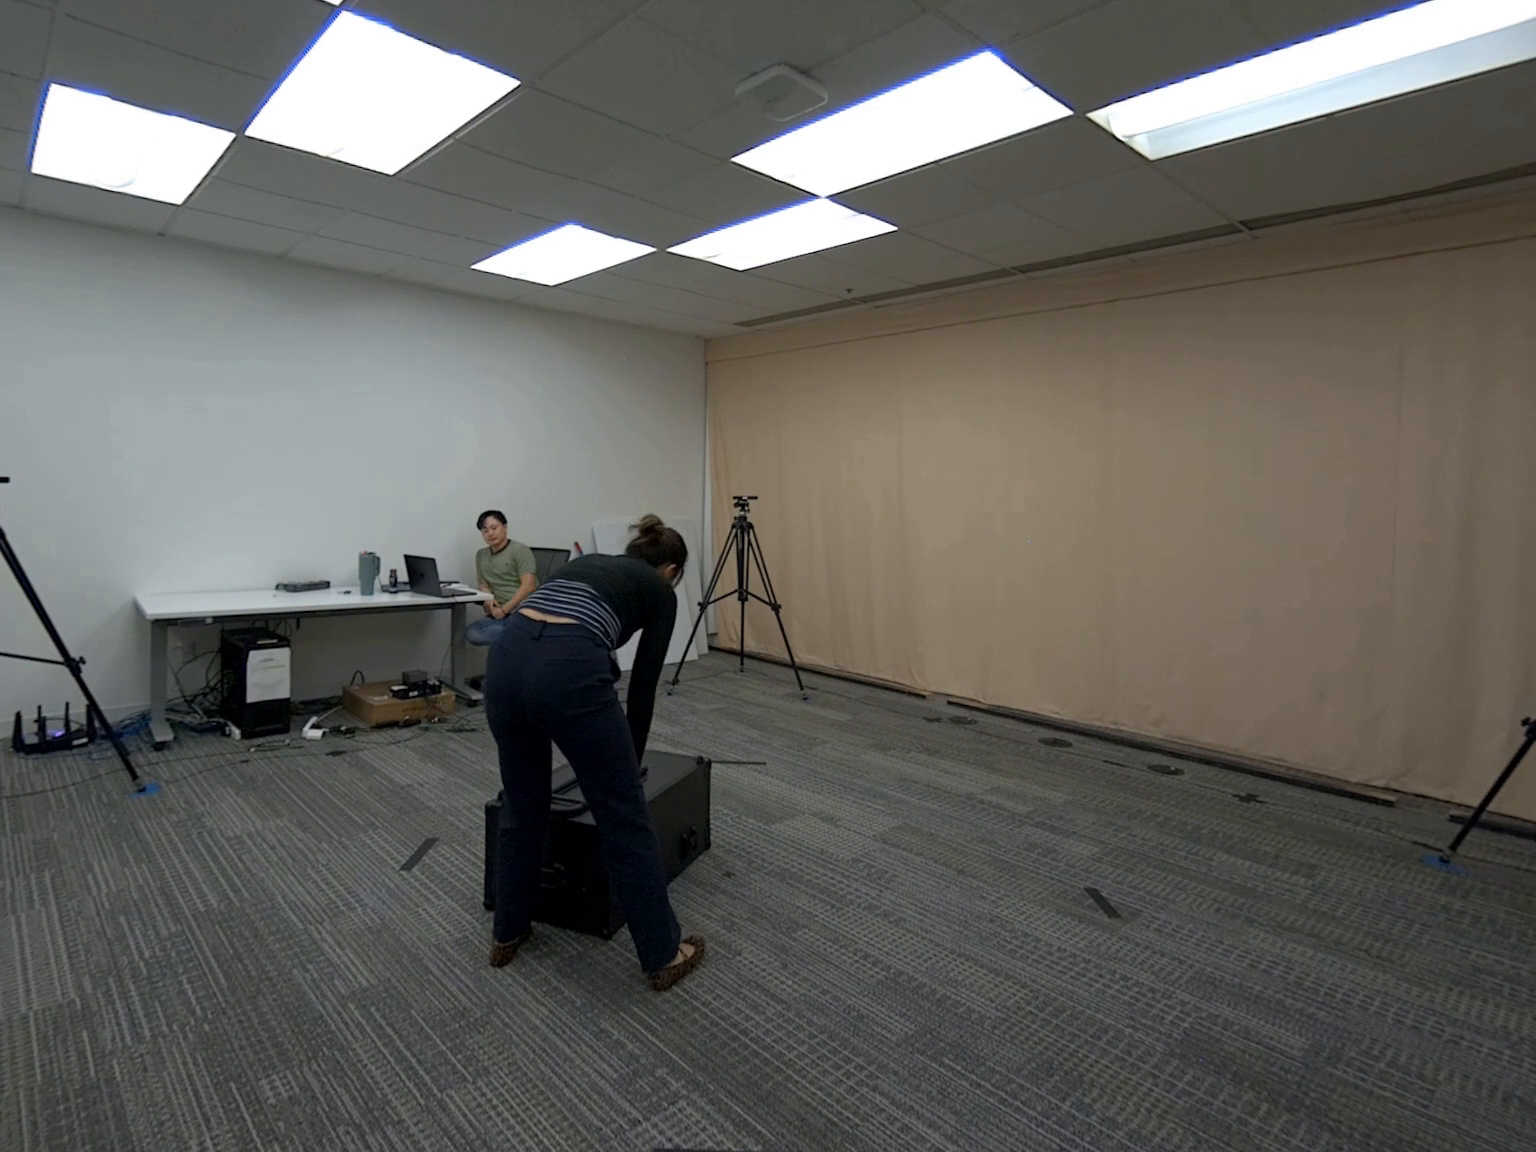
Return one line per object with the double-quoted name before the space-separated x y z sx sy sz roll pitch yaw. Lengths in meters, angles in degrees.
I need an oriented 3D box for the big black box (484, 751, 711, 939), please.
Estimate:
"big black box" -0.580 0.902 3.097 0.530 0.395 0.849 3 4 20
